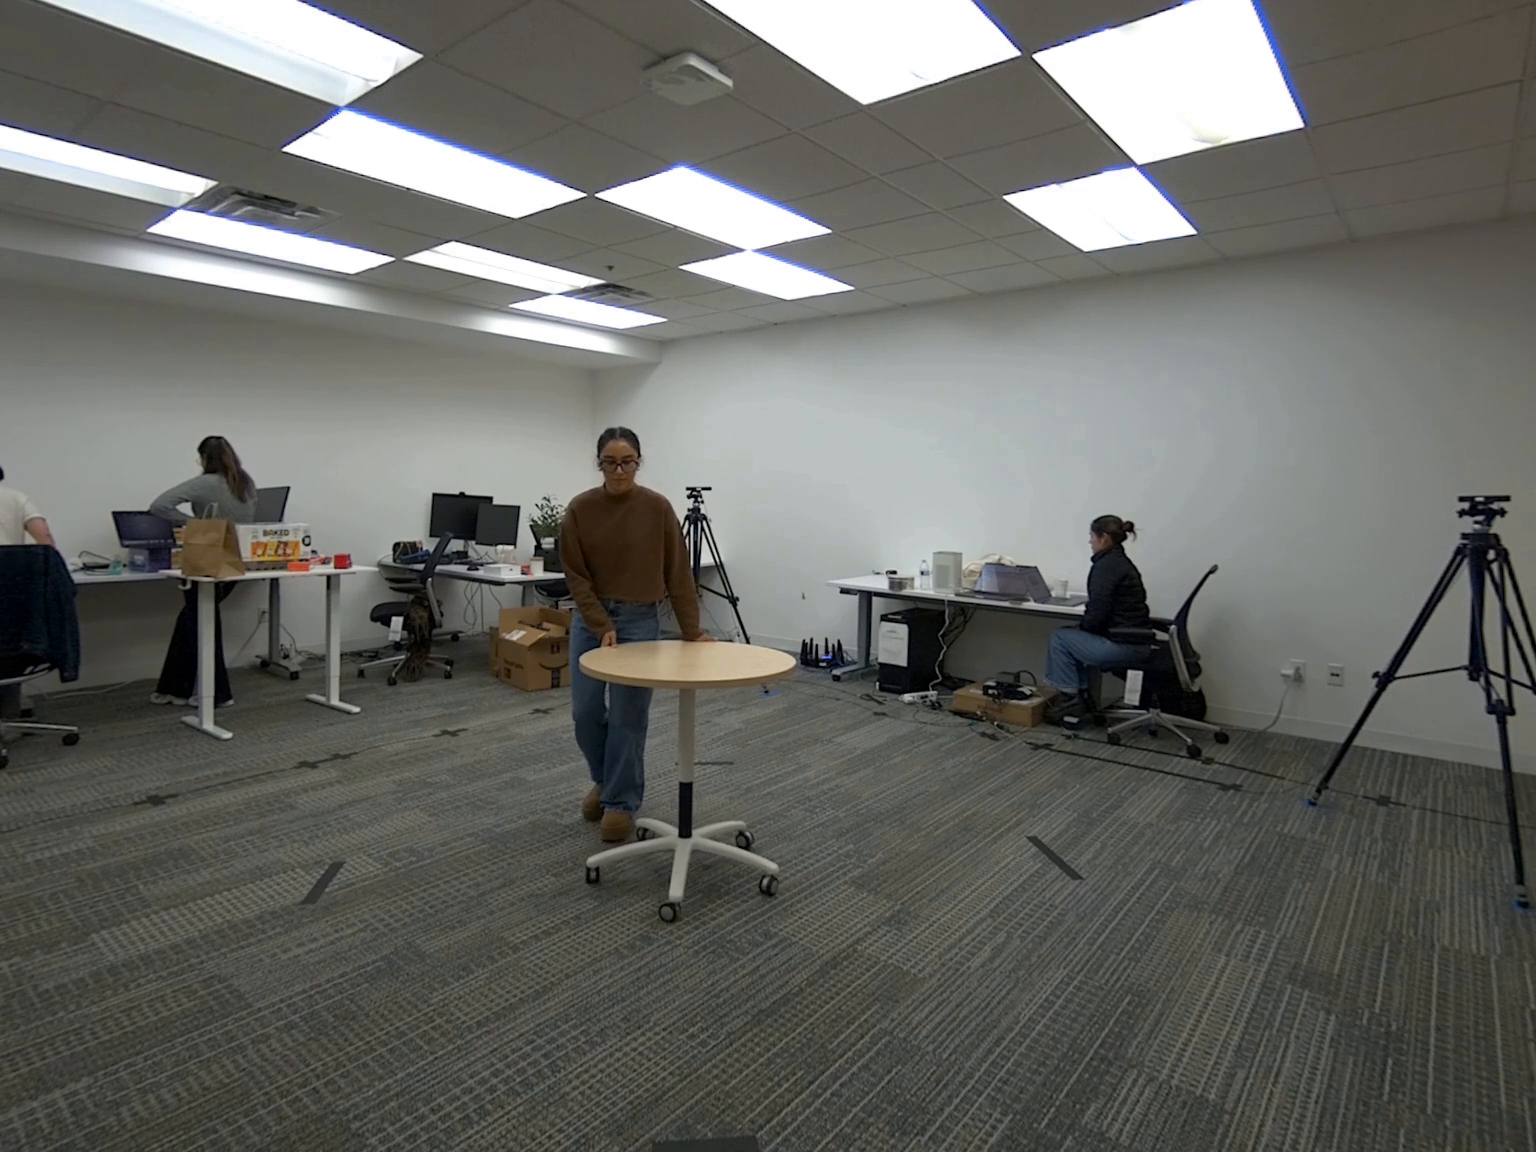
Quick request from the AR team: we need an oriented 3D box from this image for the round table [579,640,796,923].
[{"bbox_3d":[-0.304,0.677,3.051,0.784,0.784,0.789,1,4,-2],"label":"round table"}]
